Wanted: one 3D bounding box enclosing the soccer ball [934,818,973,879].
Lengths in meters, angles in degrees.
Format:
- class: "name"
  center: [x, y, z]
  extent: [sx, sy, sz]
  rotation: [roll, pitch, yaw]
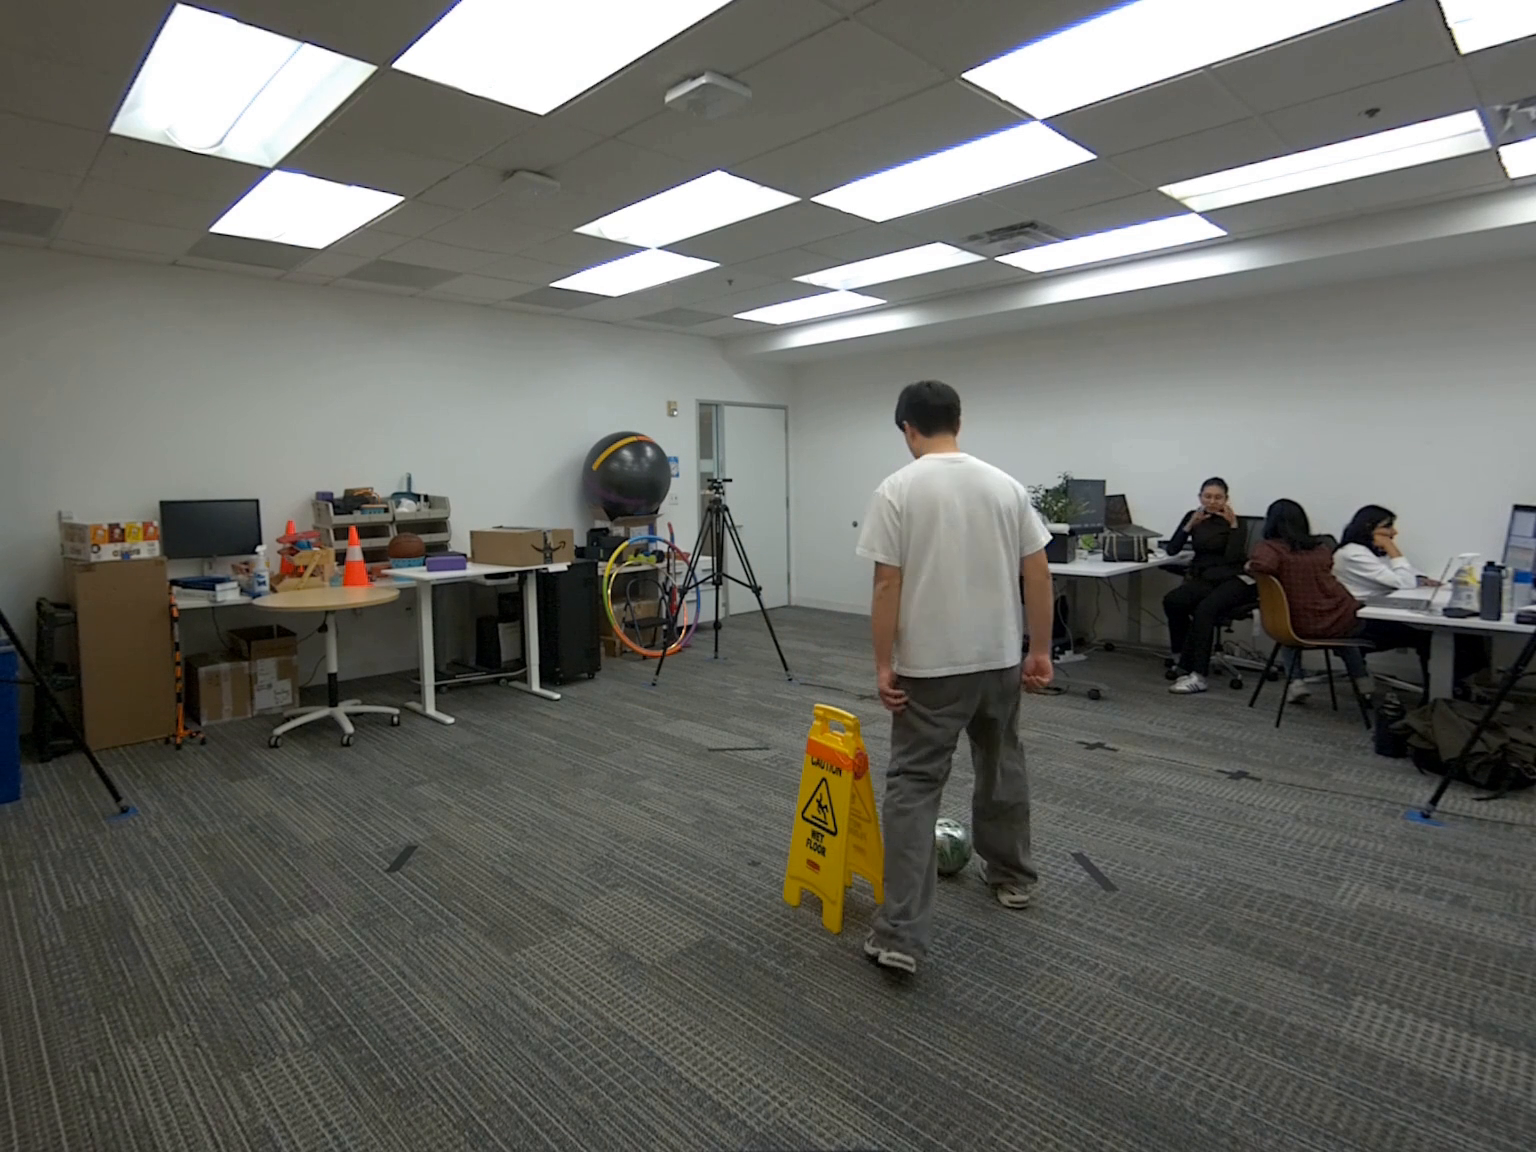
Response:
- class: "soccer ball"
  center: [0.628, 0.953, 3.013]
  extent: [0.187, 0.187, 0.188]
  rotation: [-1, 5, -2]
